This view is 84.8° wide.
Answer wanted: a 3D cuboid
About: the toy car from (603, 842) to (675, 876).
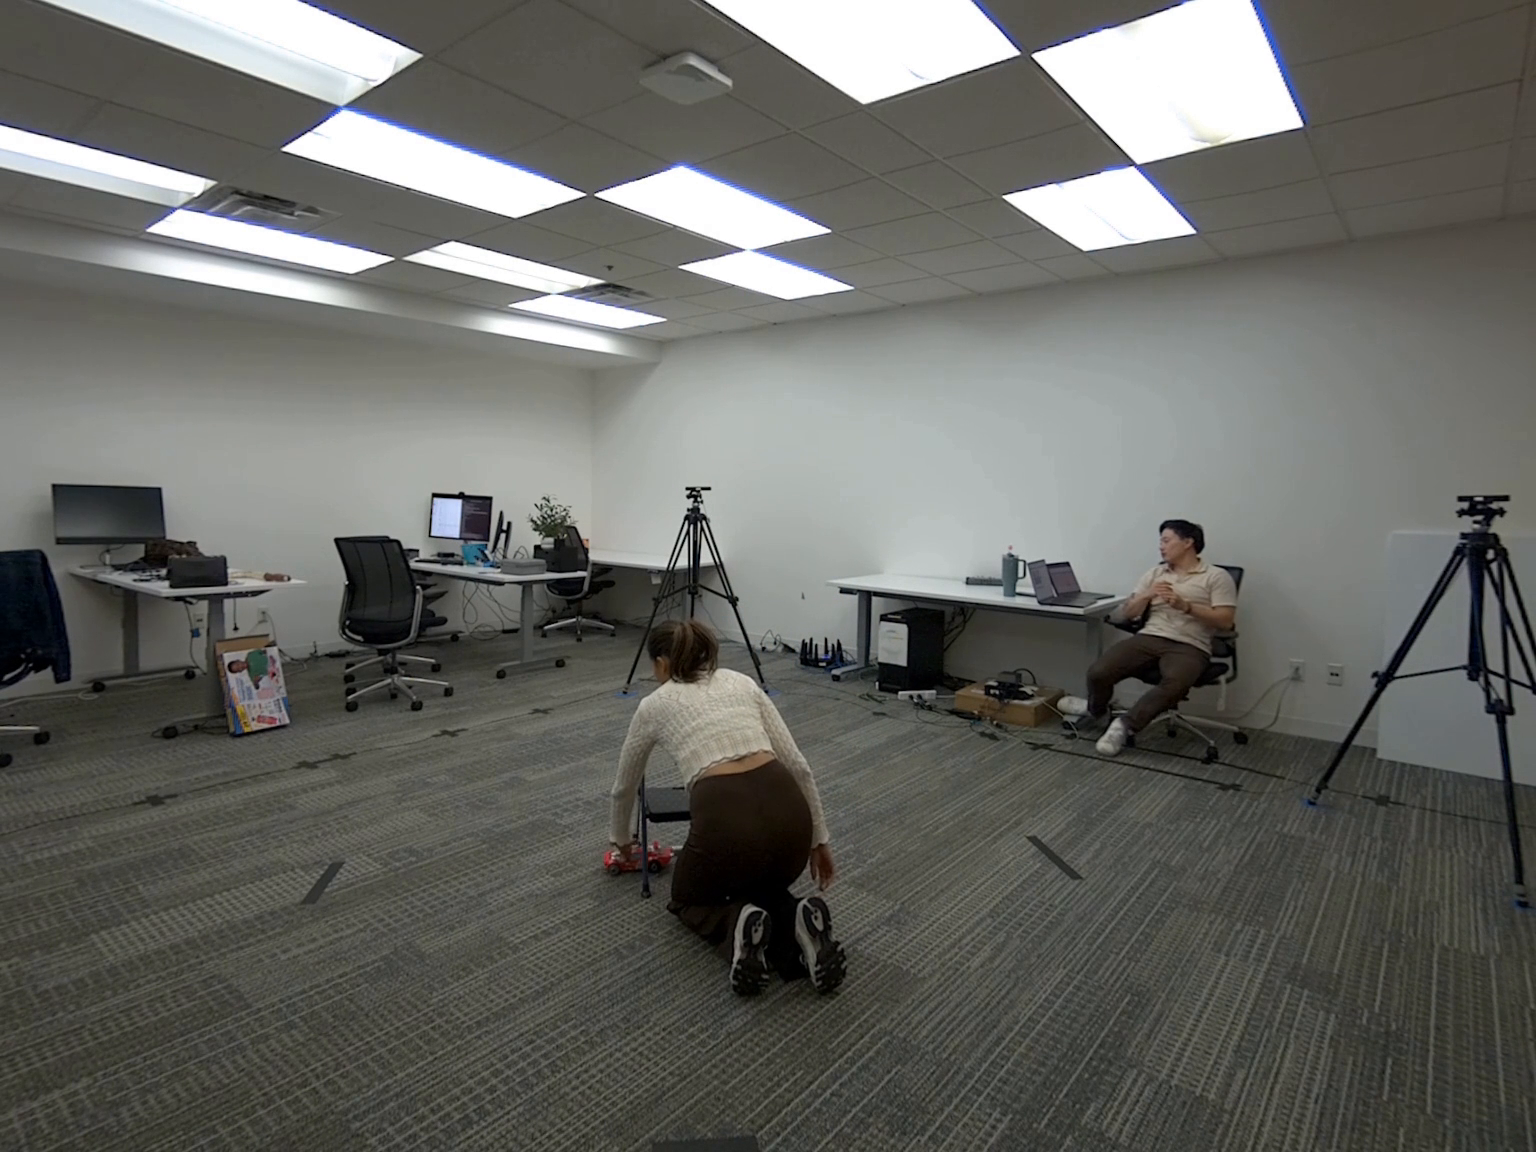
[{"bbox_3d":[-0.495,1.036,3.104,0.253,0.082,0.132,-13,8,-6],"label":"toy car"}]
